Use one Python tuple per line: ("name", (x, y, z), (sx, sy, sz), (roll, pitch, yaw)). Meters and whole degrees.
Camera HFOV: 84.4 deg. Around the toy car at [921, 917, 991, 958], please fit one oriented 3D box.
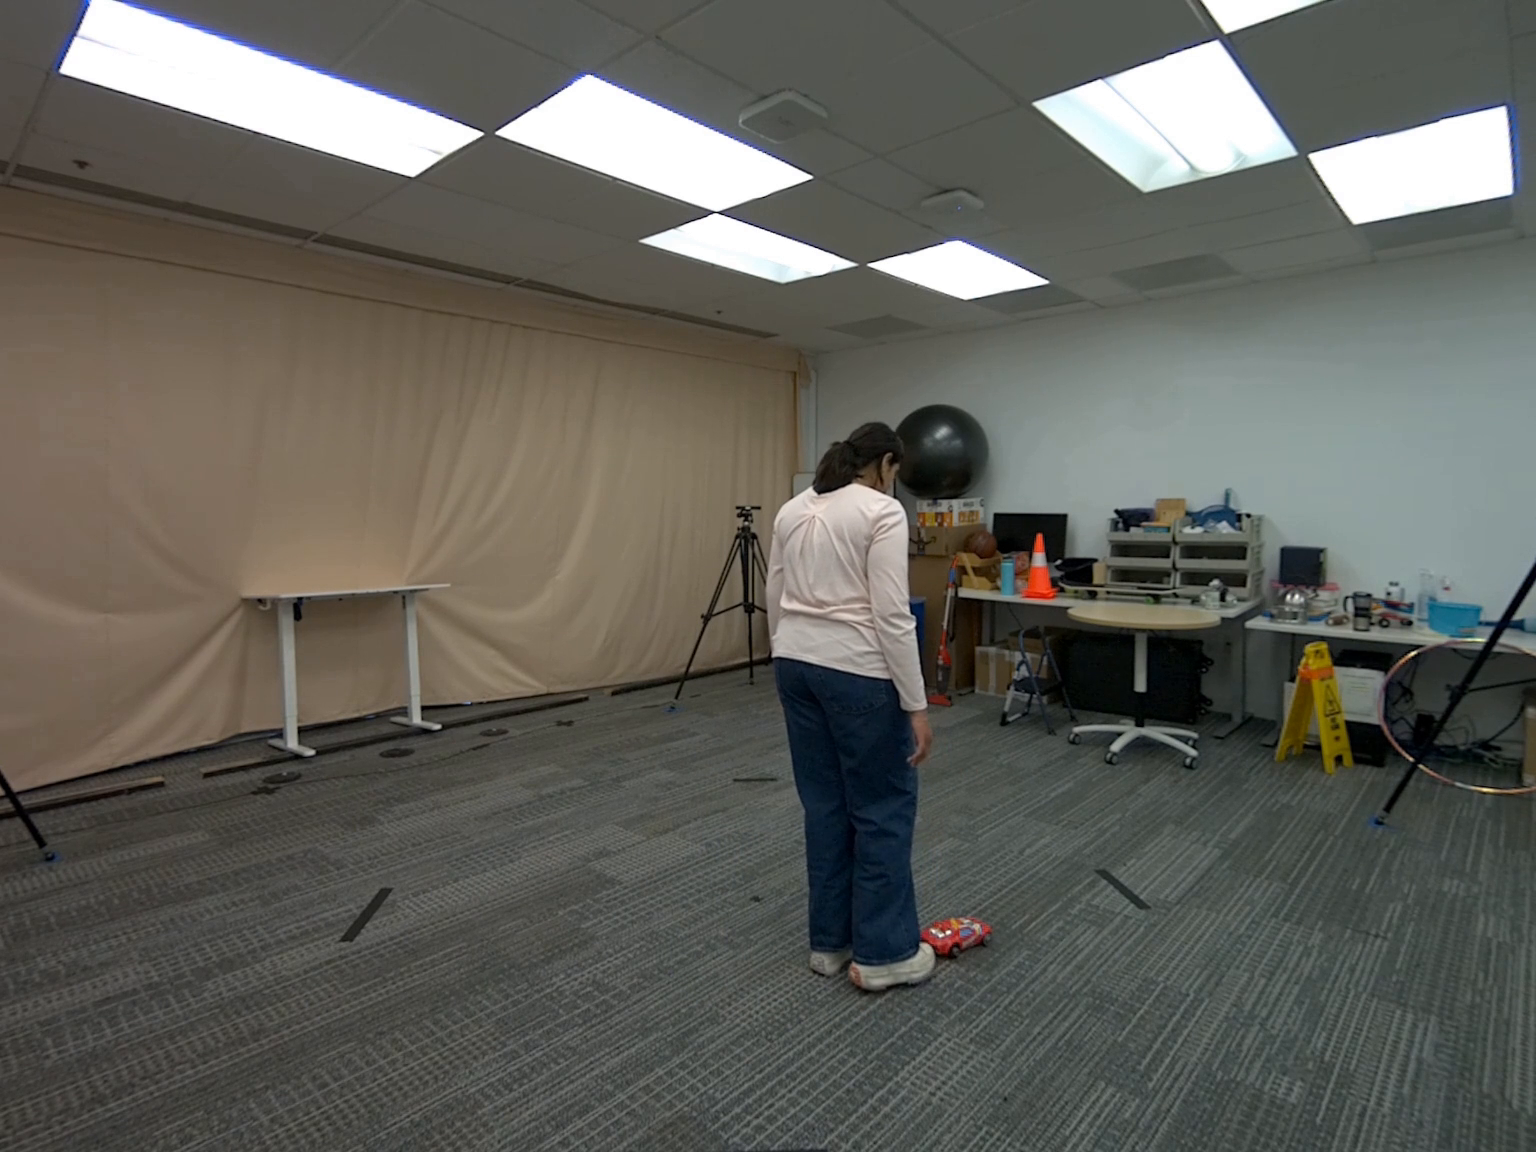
("toy car", (0.597, 1.140, 2.655), (0.247, 0.083, 0.134), (10, 0, -32))
